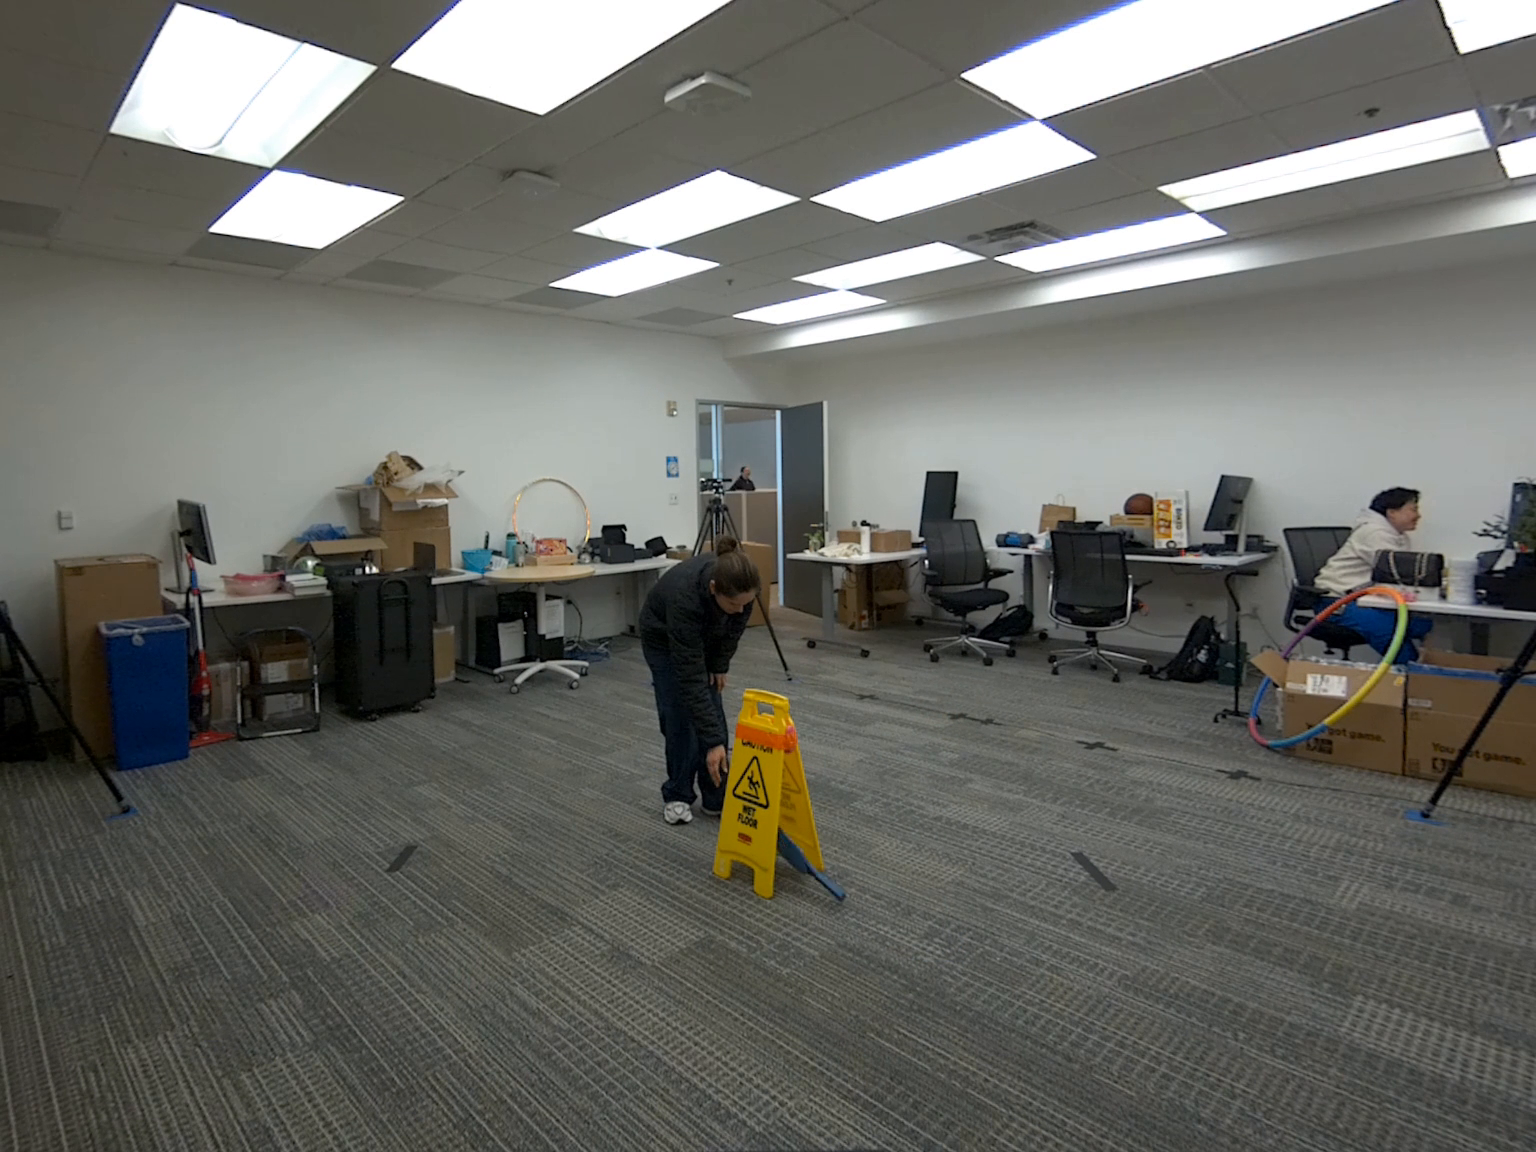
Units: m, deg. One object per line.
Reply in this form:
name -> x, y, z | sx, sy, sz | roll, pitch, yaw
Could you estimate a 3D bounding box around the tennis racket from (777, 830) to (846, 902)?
tennis racket -> 0.082, 0.954, 2.962 | 0.031, 0.207, 0.450 | -32, 39, -25
